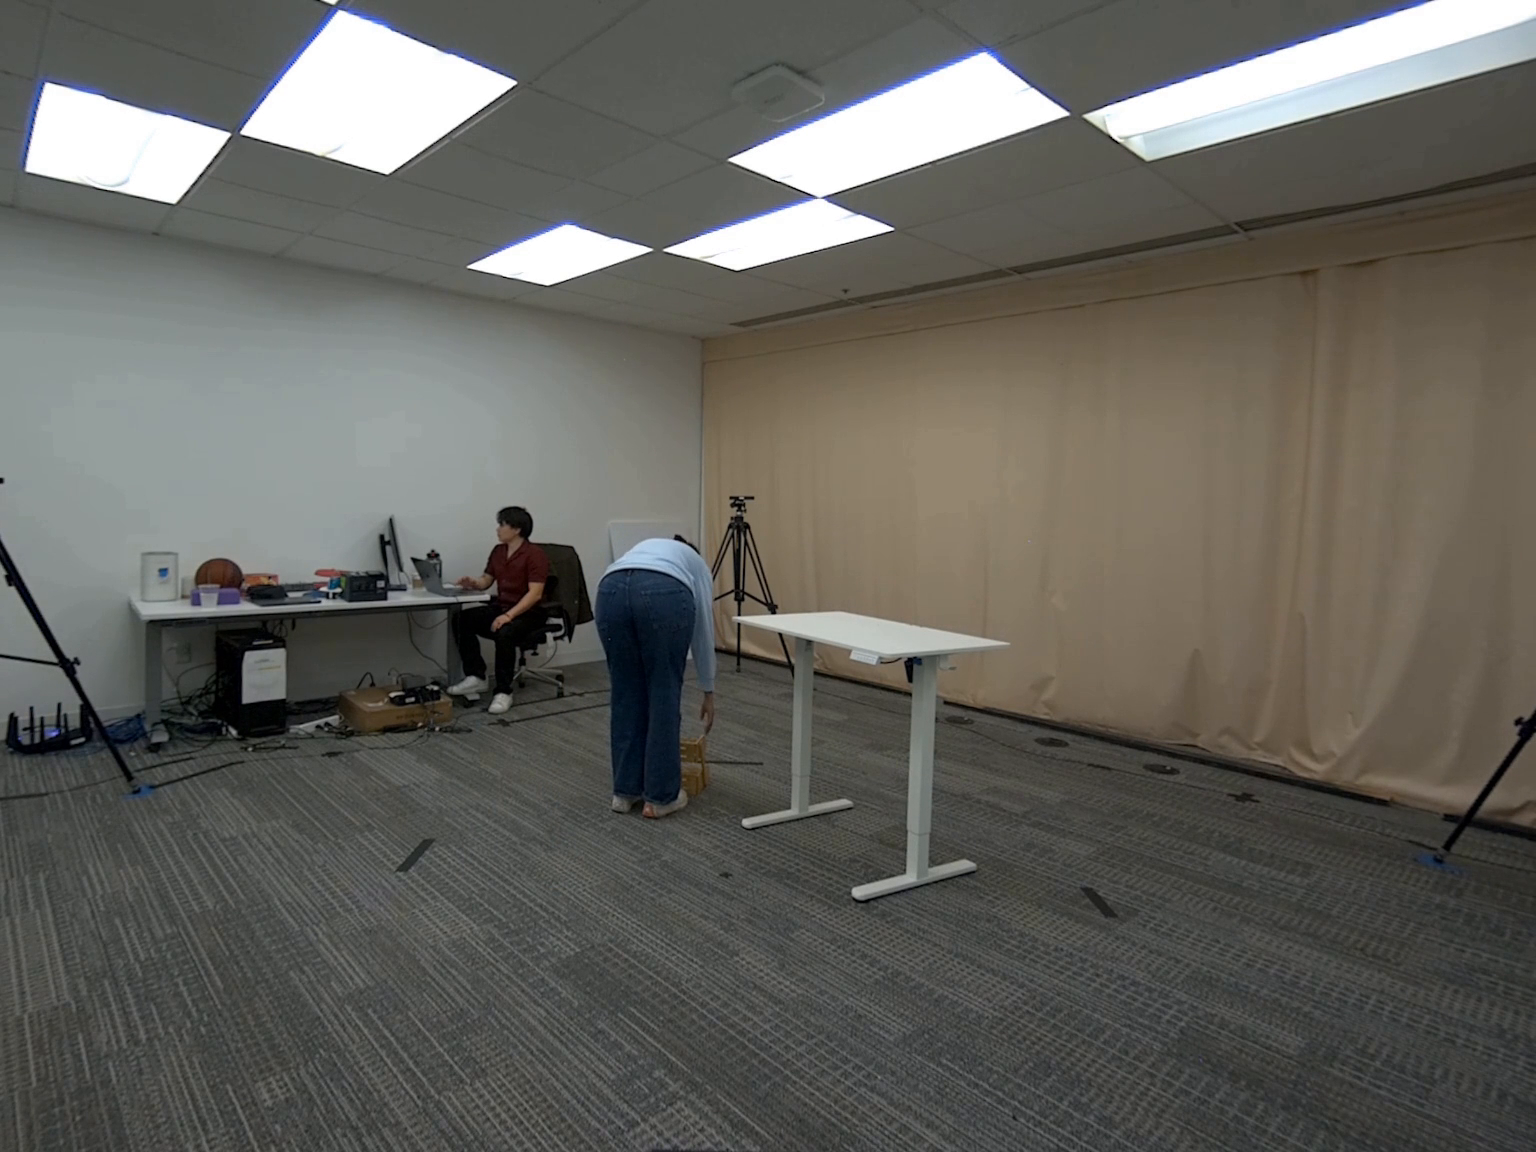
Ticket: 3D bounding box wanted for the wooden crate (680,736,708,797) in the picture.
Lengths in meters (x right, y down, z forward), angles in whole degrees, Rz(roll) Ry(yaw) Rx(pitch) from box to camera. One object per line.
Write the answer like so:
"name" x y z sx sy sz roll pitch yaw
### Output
"wooden crate" -0.471 0.884 4.075 0.327 0.272 0.301 2 6 9
